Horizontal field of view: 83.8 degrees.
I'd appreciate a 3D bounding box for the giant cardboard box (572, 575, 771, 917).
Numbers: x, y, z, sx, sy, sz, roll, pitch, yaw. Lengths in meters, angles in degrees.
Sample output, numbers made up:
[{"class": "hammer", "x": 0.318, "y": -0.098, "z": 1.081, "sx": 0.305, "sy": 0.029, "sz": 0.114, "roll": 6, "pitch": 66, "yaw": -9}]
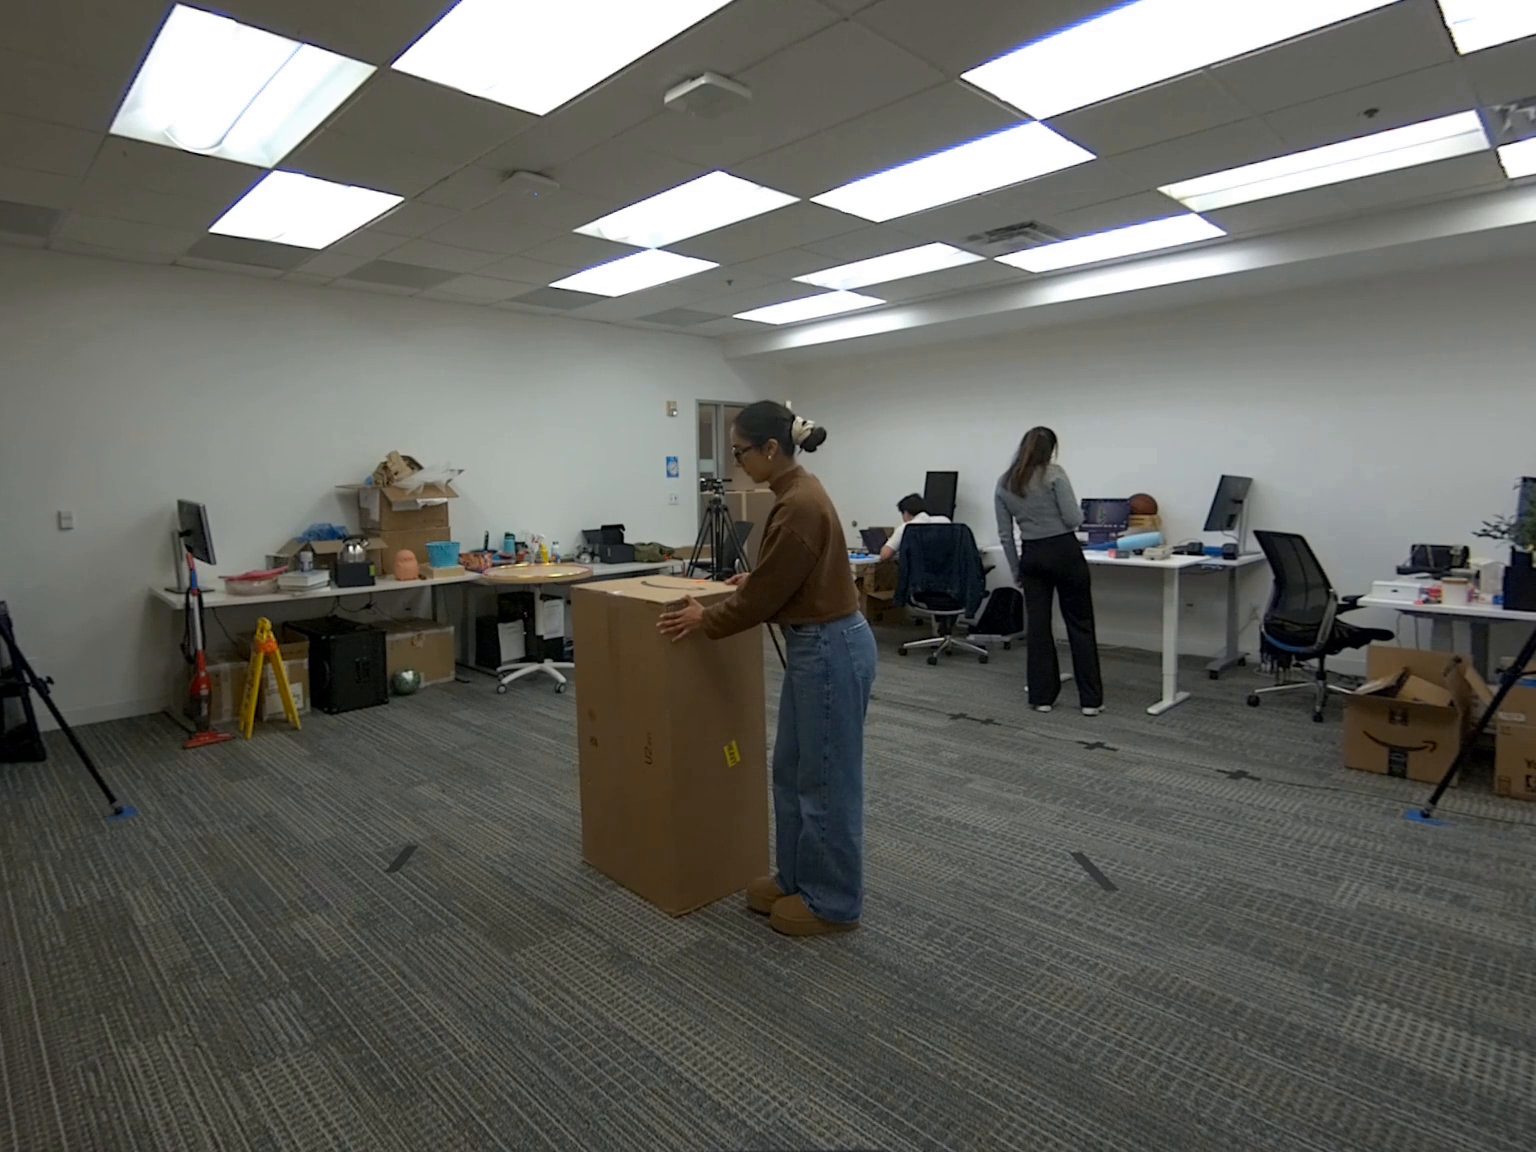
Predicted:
[{"class": "giant cardboard box", "x": -0.351, "y": 0.545, "z": 3.043, "sx": 0.415, "sy": 1.021, "sz": 0.595, "roll": -5, "pitch": 6, "yaw": -41}]
